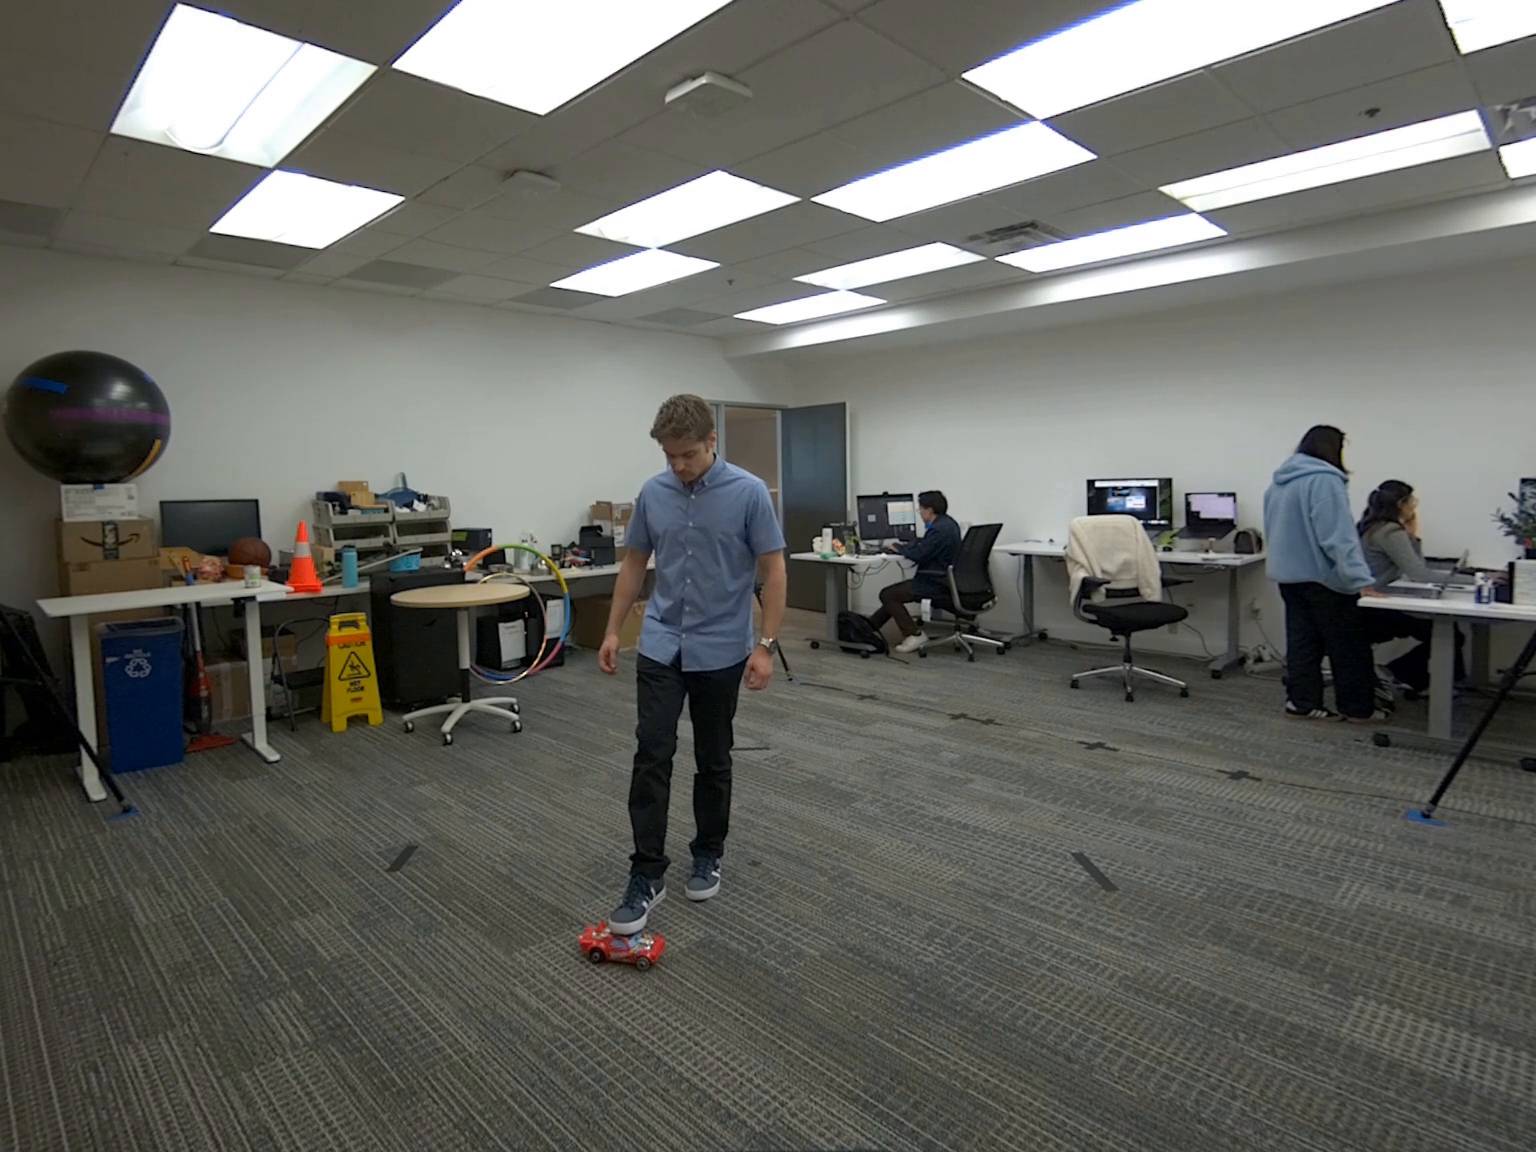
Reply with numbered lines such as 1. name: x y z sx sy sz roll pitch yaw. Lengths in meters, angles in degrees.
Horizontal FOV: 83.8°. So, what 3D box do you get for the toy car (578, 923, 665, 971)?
1. toy car: -0.436 1.094 2.519 0.259 0.083 0.129 12 8 14
